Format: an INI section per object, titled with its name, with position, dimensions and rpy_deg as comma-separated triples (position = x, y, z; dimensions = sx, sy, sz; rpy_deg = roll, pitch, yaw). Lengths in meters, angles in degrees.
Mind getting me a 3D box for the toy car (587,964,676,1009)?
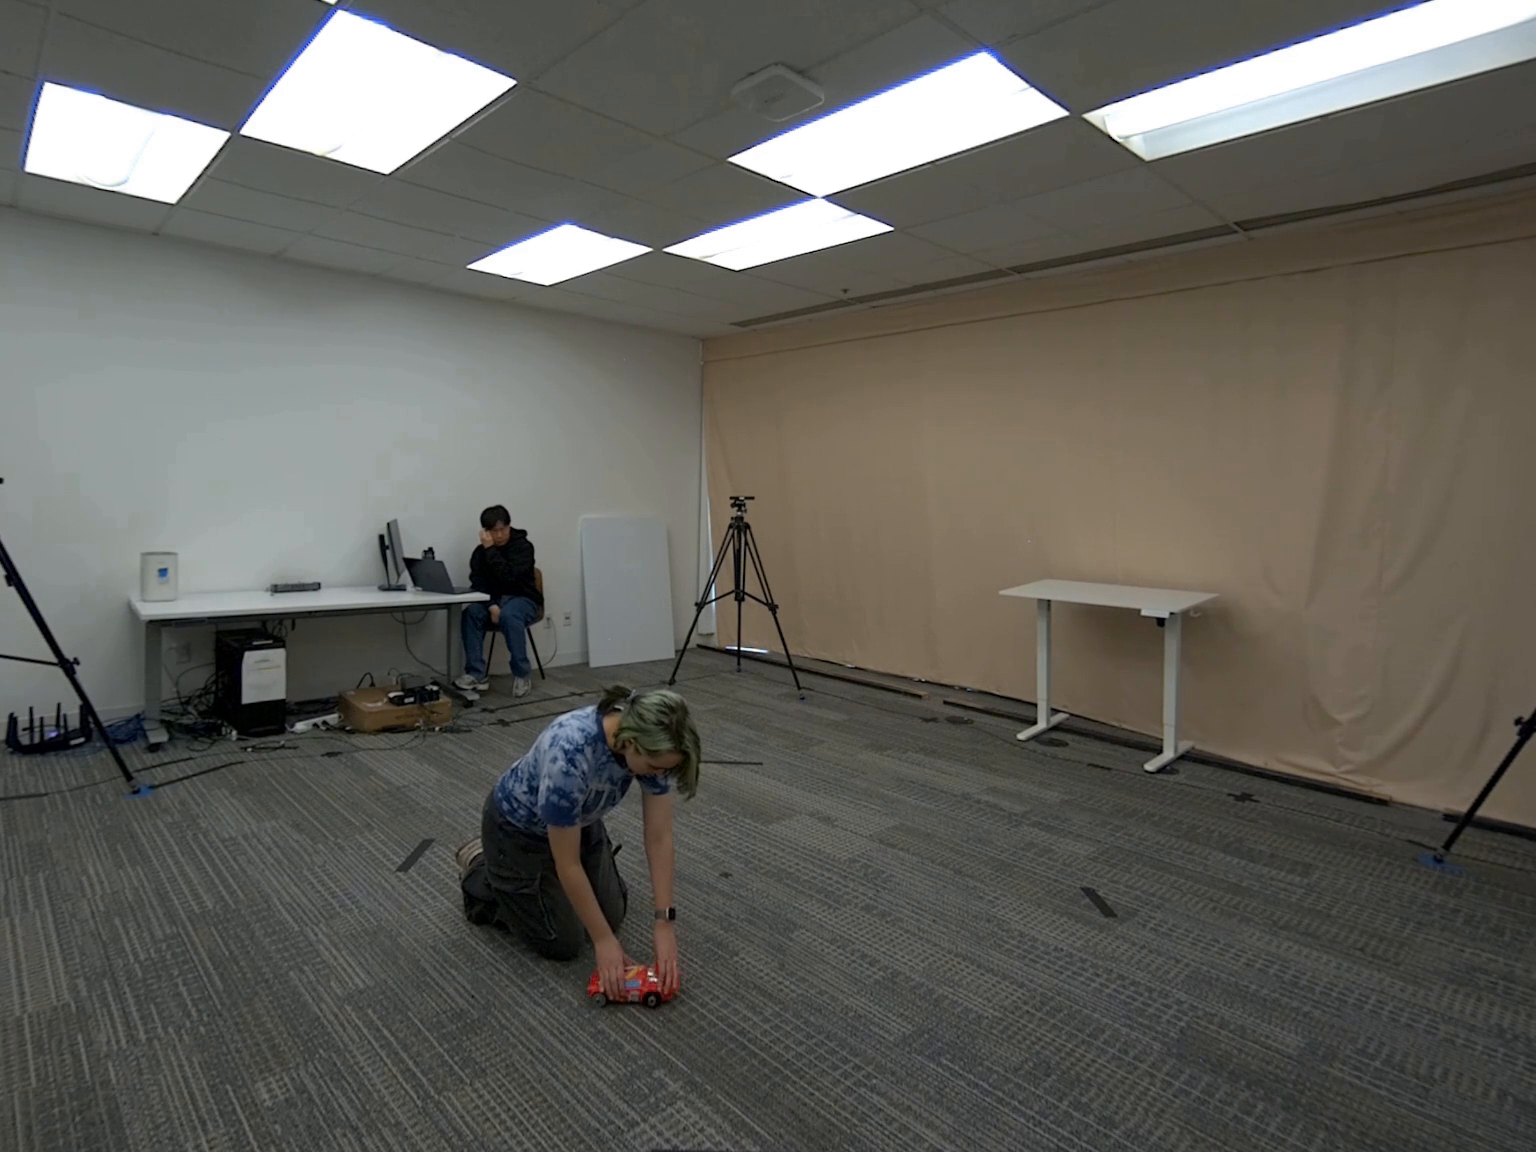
[toy car]
position = -0.373, 1.141, 2.331
dimensions = 0.255, 0.083, 0.131
rpy_deg = -9, 7, 1
